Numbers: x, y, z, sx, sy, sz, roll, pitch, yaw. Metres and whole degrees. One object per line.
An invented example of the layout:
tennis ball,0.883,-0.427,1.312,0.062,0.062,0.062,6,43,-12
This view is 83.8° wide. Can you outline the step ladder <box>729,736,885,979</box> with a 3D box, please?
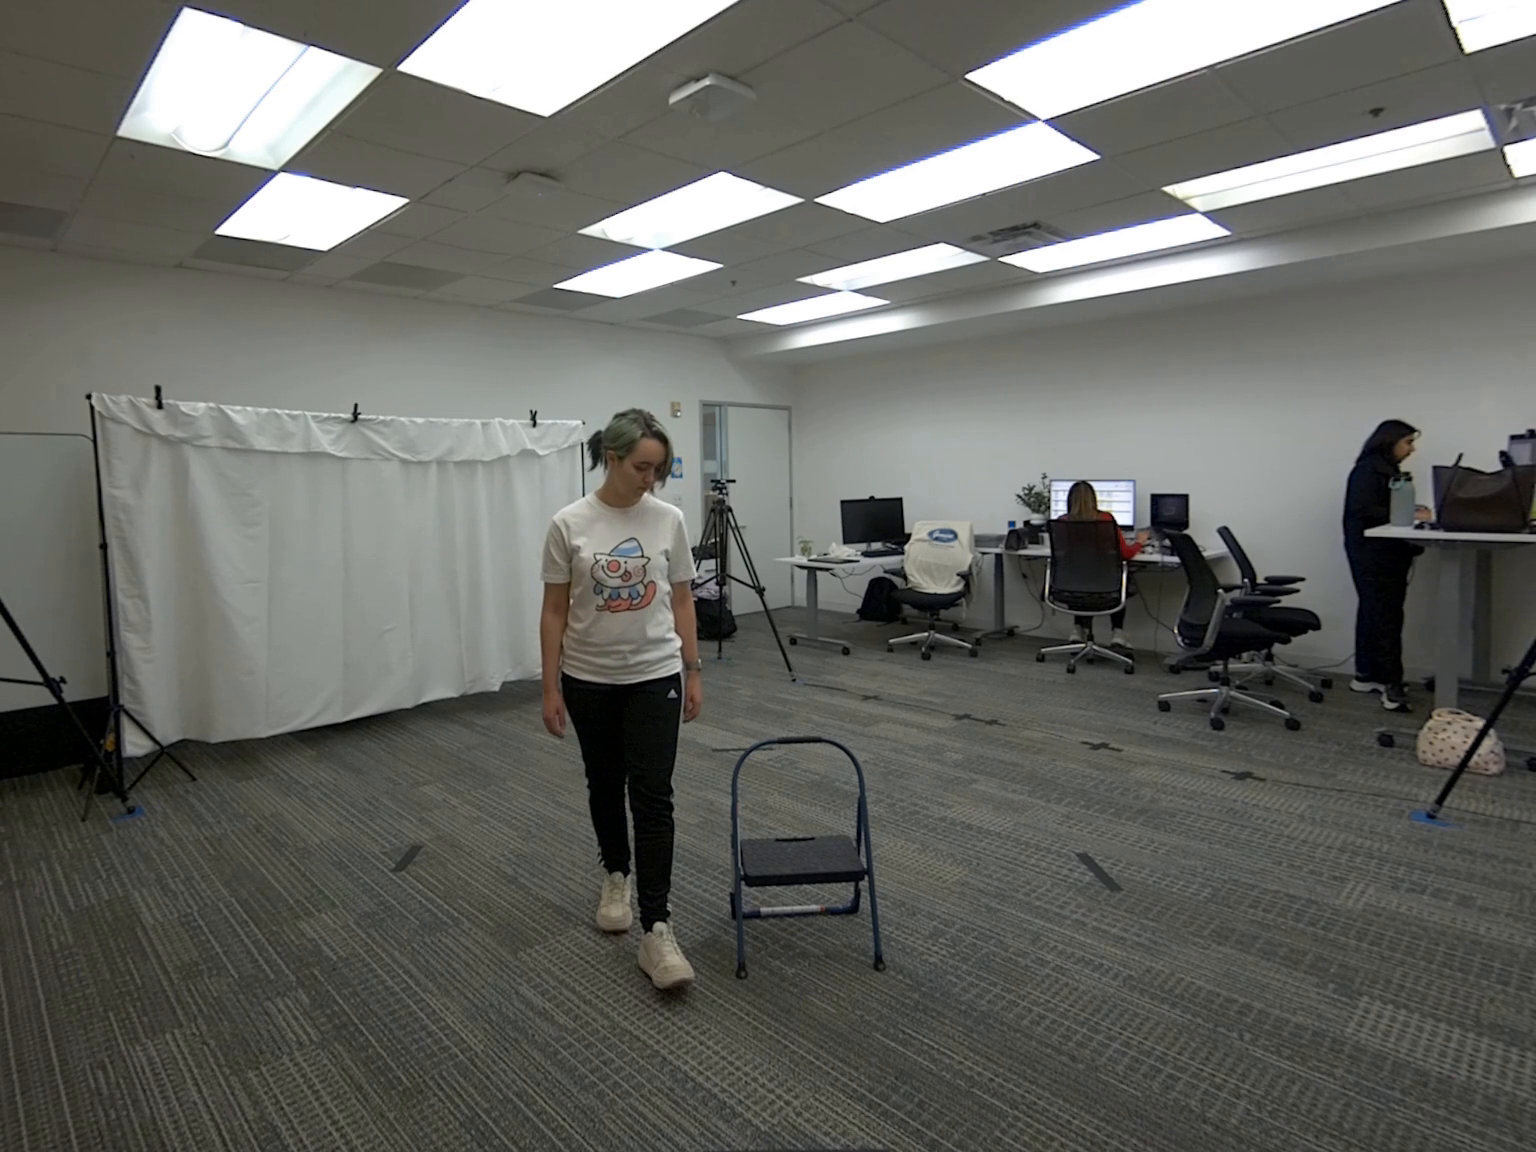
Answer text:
step ladder,0.103,0.804,2.562,0.429,0.604,0.352,-2,5,-5
